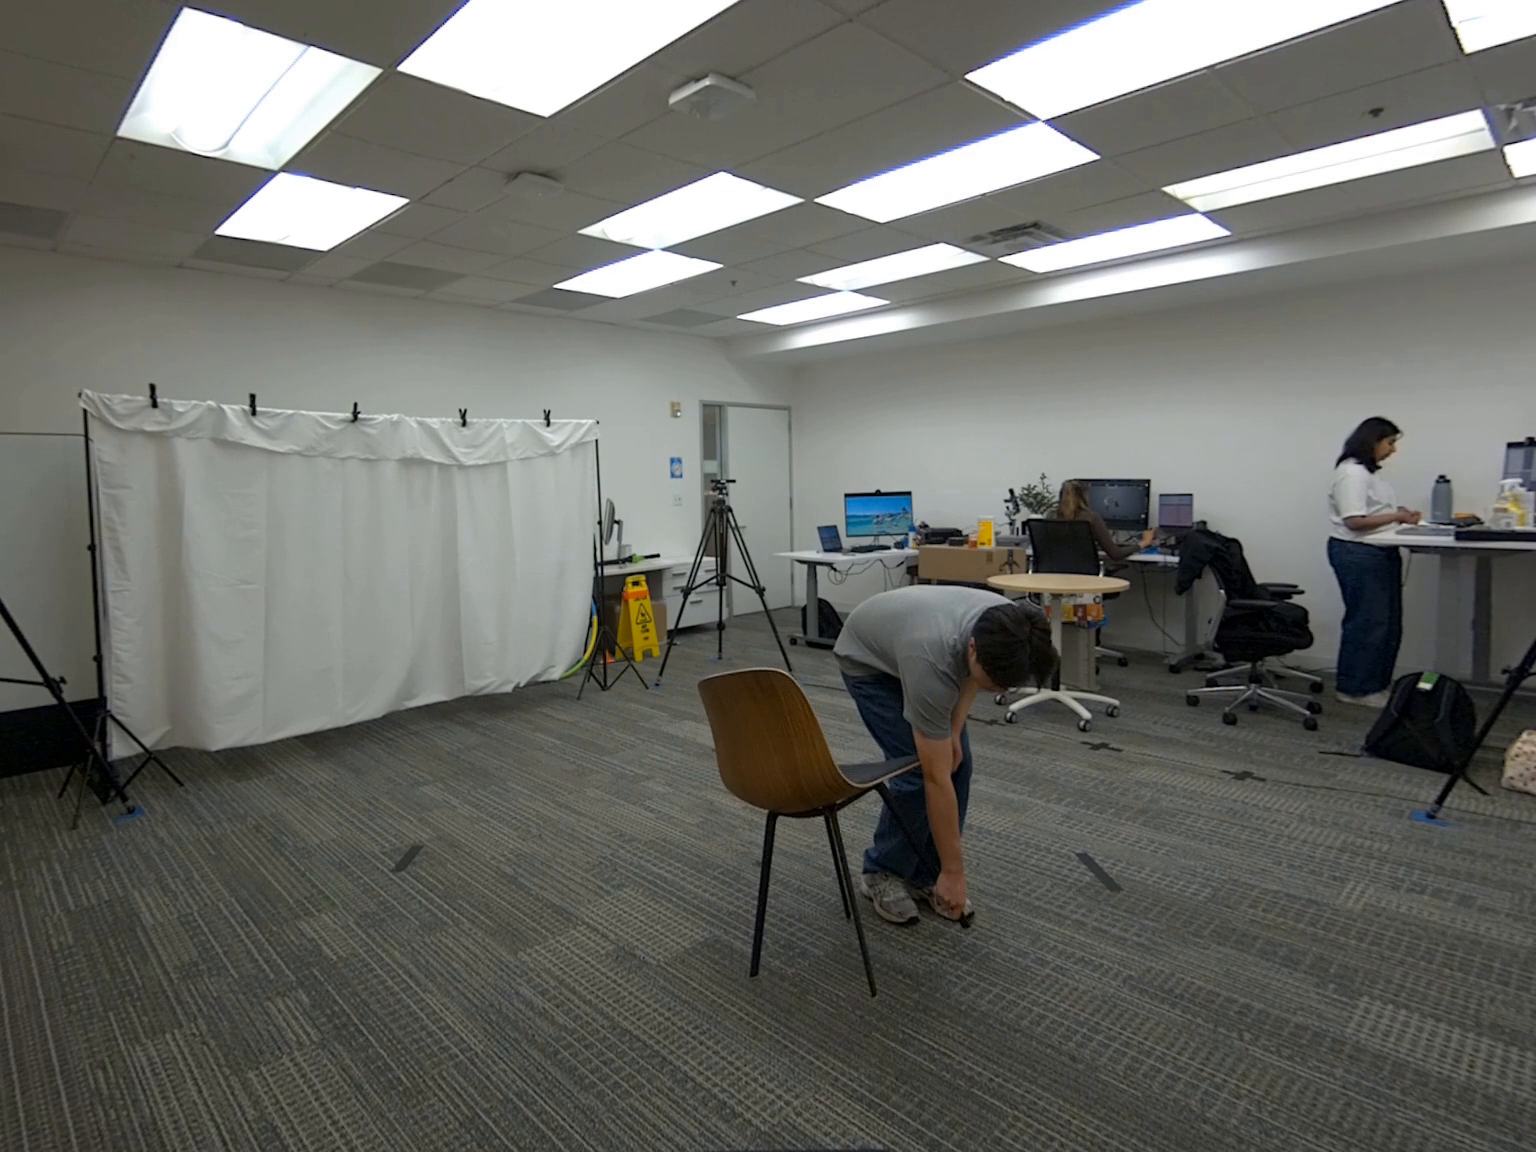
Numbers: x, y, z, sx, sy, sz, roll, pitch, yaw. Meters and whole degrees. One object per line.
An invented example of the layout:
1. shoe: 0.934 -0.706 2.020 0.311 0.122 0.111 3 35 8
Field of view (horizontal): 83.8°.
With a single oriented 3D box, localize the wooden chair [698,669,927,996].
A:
1. wooden chair: 0.169 0.646 2.458 0.486 0.883 0.511 -21 -6 43
